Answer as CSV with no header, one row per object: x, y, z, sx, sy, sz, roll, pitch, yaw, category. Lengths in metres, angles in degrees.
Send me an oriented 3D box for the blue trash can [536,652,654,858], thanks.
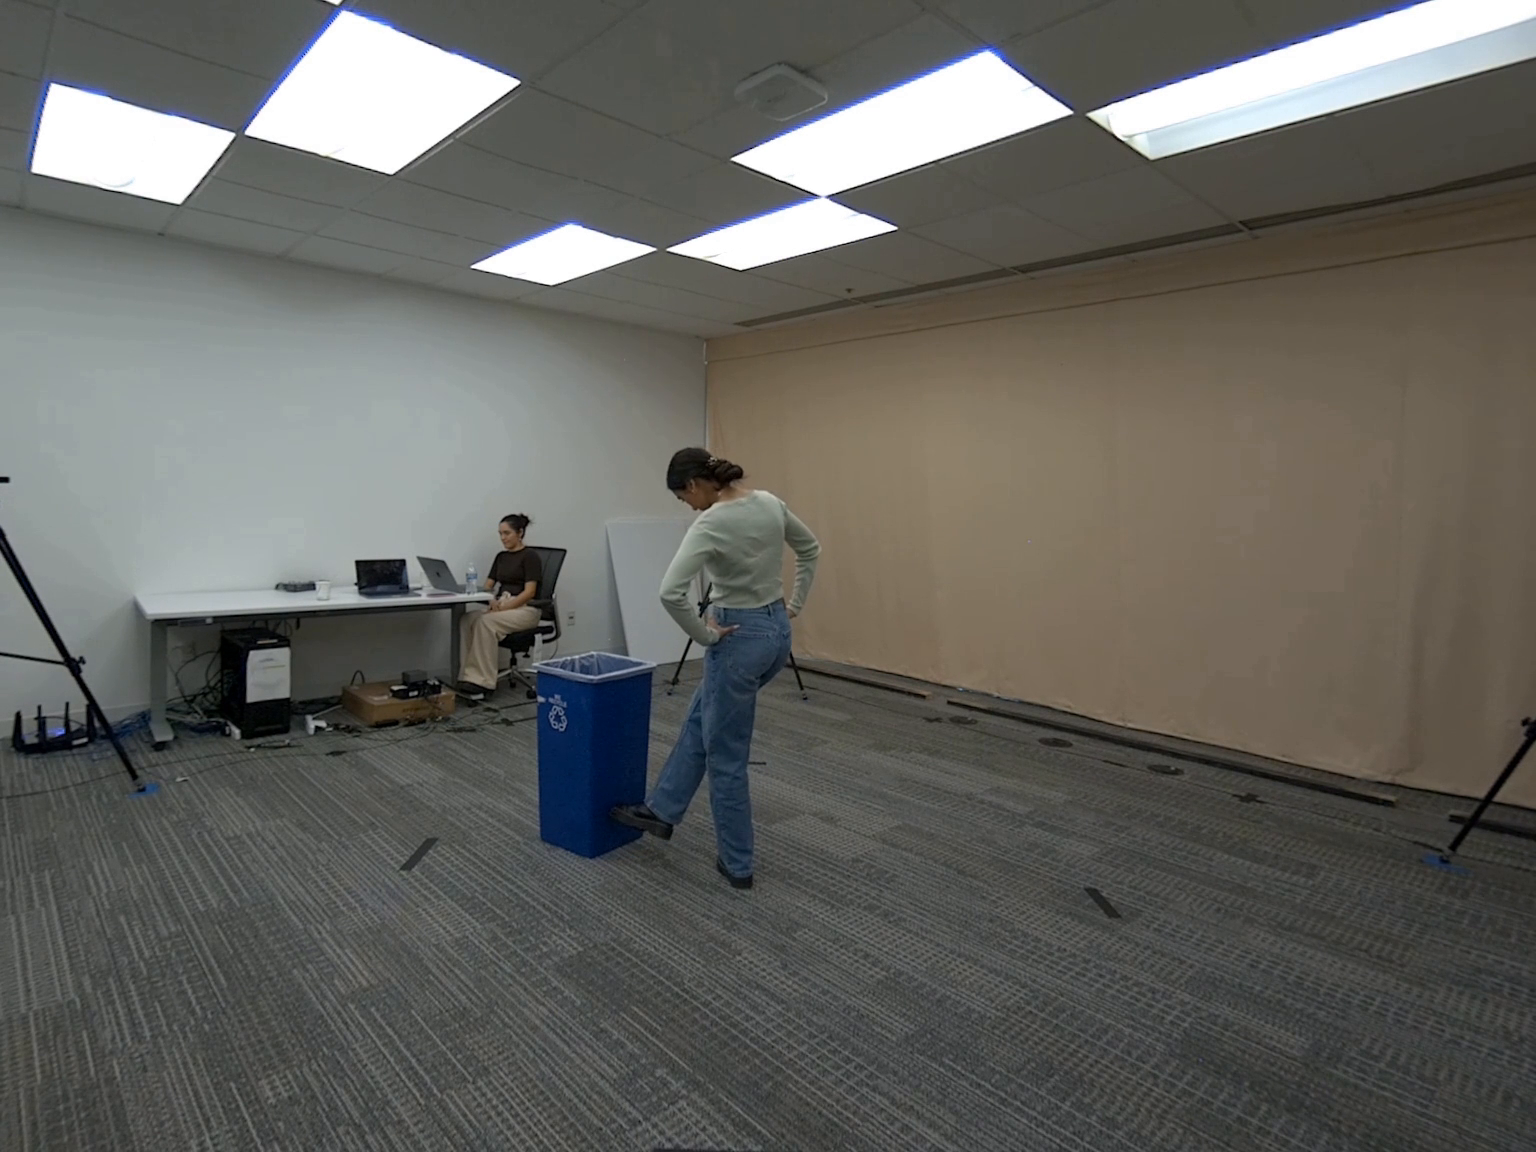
-0.712,0.707,3.389,0.387,0.712,0.366,4,4,36,blue trash can
